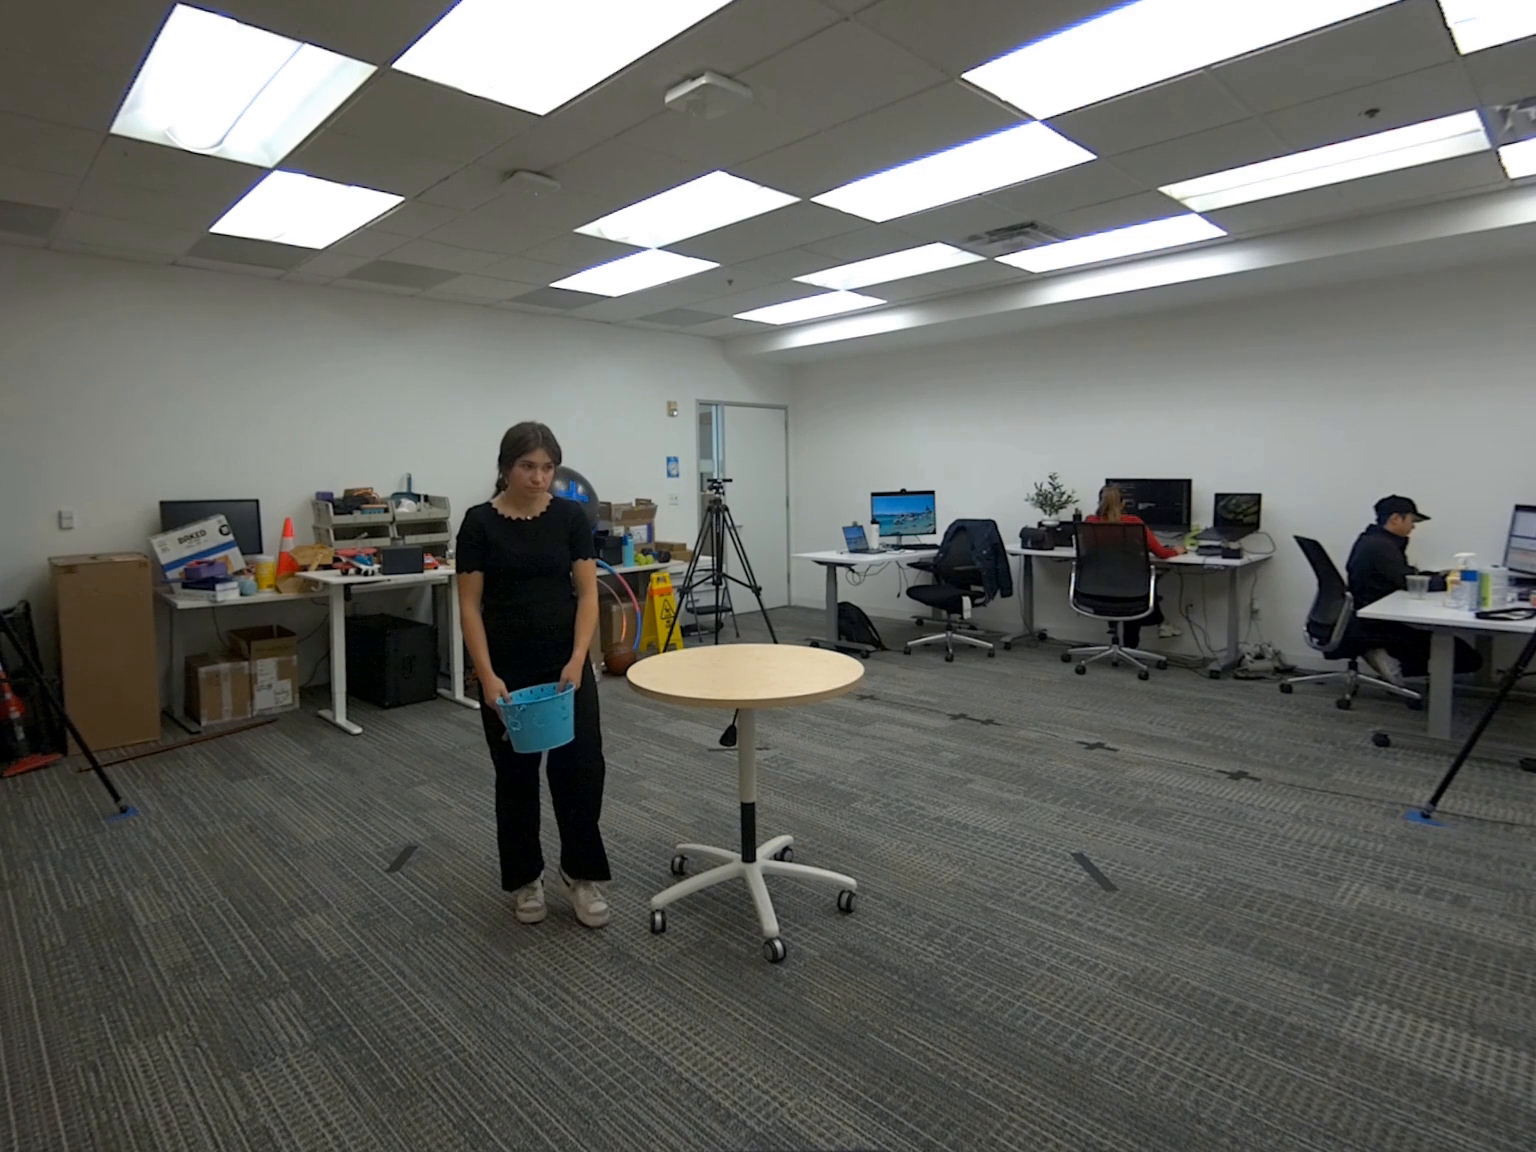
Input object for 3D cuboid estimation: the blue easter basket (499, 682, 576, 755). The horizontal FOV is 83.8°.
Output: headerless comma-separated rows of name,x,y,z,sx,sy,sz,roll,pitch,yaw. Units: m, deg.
blue easter basket,-0.676,0.430,2.547,0.243,0.155,0.245,-8,5,-1
